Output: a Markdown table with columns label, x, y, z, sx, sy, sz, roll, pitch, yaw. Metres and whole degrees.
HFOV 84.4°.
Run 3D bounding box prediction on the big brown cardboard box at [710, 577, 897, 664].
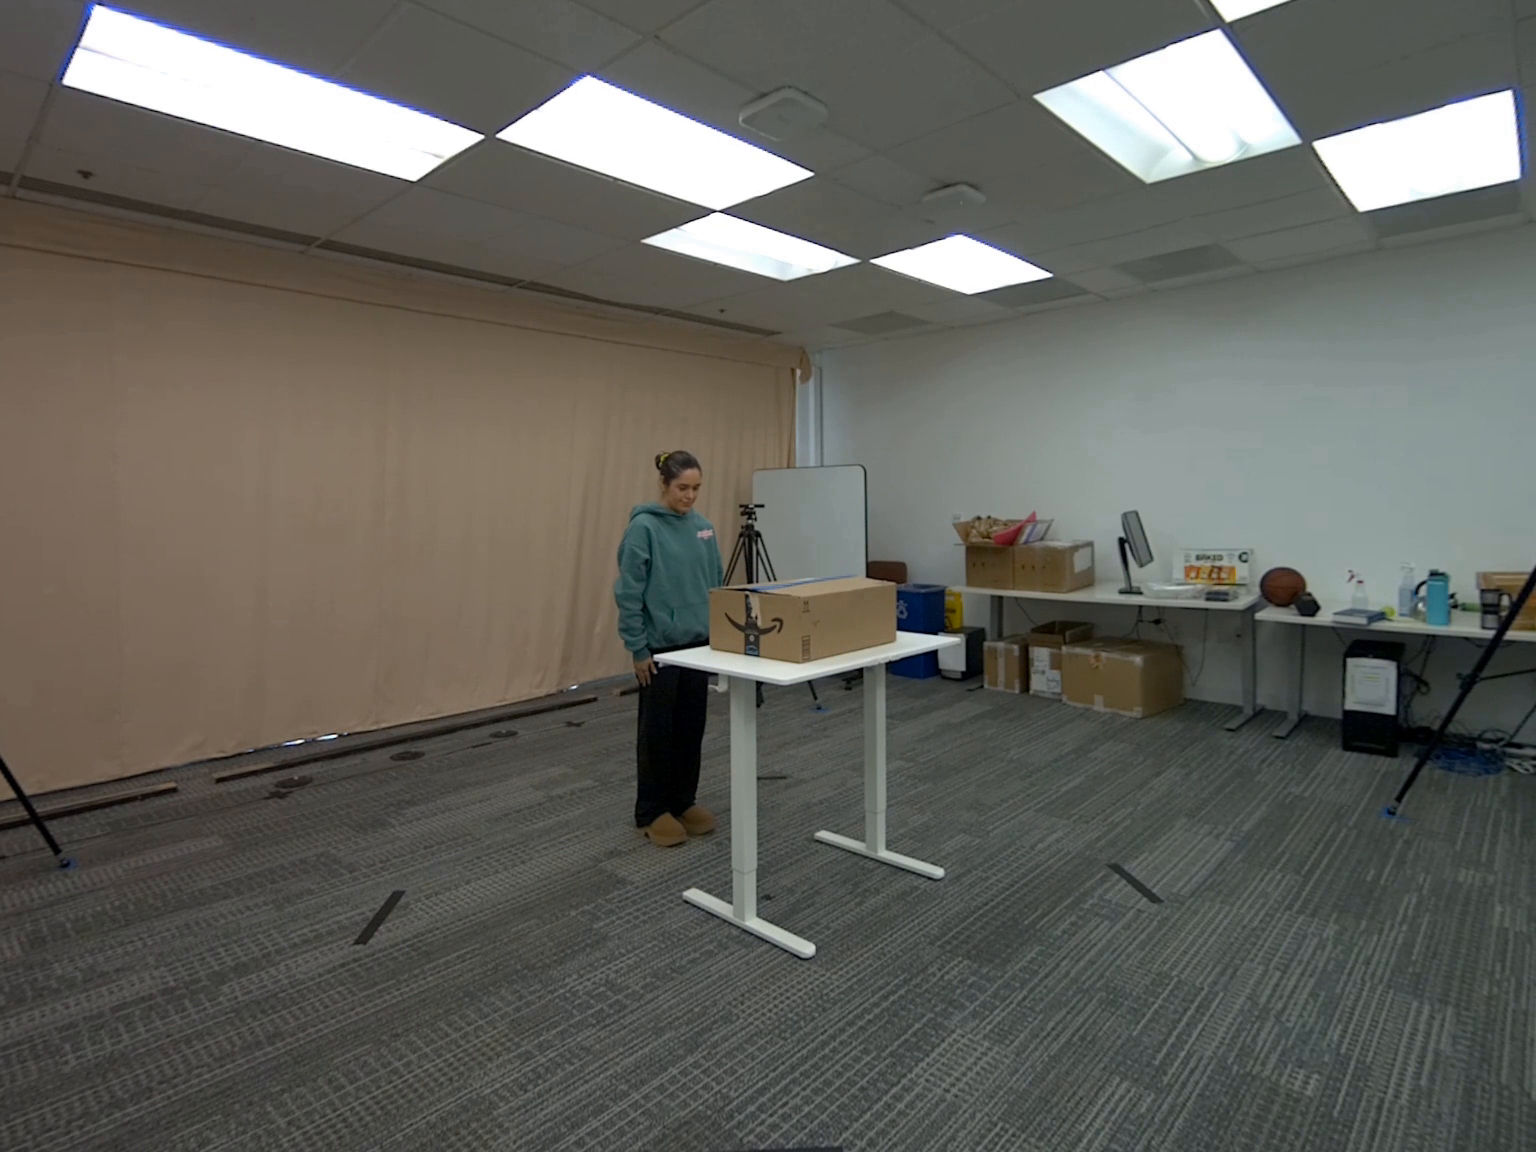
| label | x | y | z | sx | sy | sz | roll | pitch | yaw |
| --- | --- | --- | --- | --- | --- | --- | --- | --- | --- |
| big brown cardboard box | 0.138 | 0.144 | 3.025 | 0.431 | 0.232 | 0.571 | 4 | 7 | 42 |
